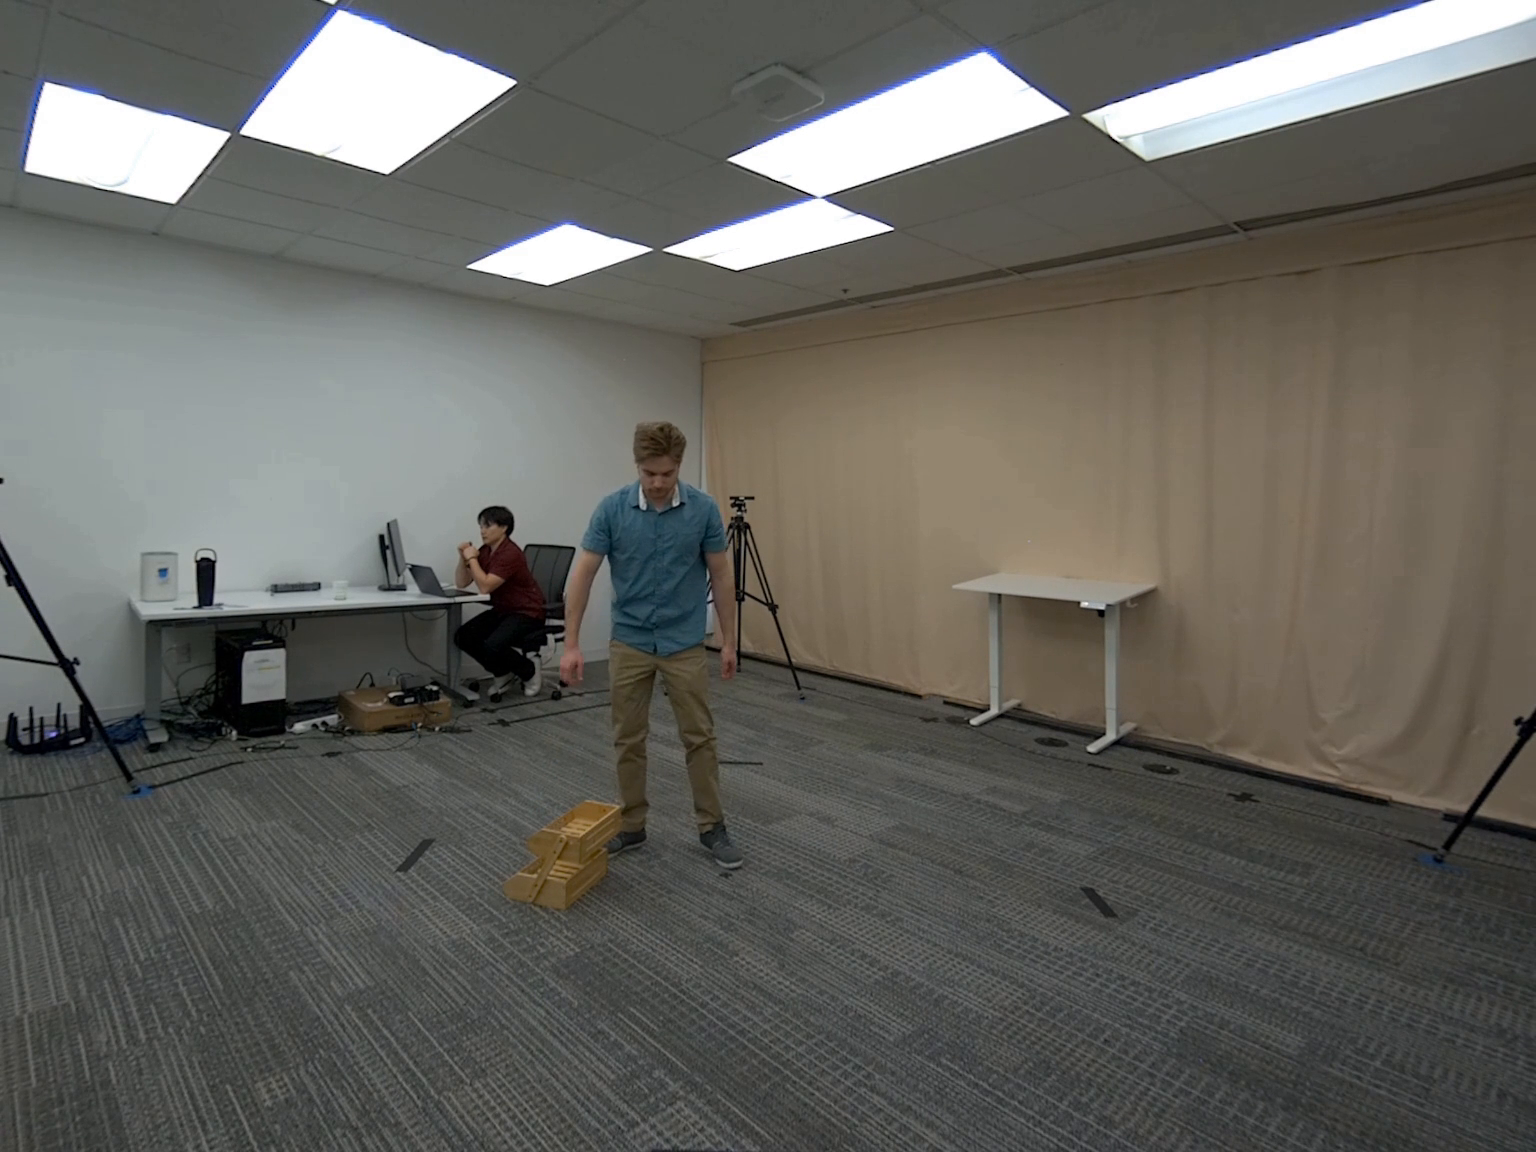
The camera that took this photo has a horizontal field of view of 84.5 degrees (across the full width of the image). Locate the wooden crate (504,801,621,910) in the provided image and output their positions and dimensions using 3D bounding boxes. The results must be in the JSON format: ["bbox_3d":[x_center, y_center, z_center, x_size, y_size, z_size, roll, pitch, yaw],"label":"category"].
[{"bbox_3d":[-0.740,0.973,2.977,0.306,0.272,0.320,4,5,18],"label":"wooden crate"}]
